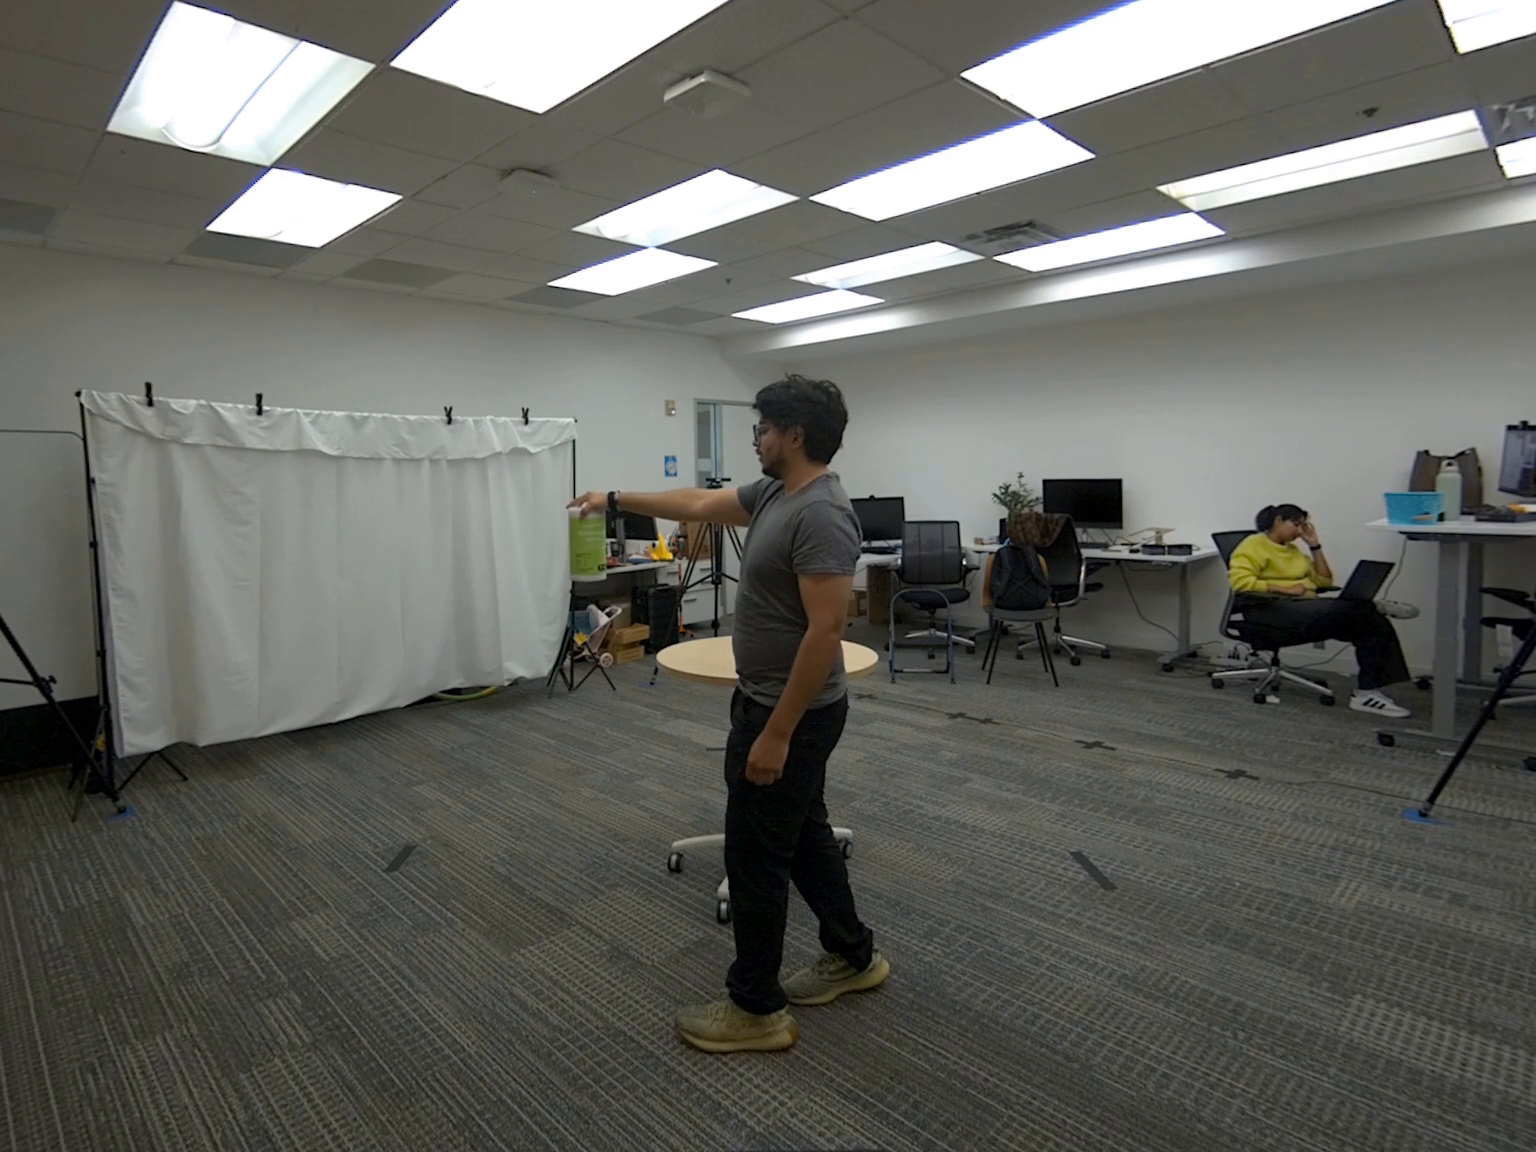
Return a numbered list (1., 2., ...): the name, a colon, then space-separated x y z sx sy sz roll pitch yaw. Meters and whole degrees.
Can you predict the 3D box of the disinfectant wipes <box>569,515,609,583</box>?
1. disinfectant wipes: -0.527 -0.095 2.511 0.118 0.216 0.119 0 7 -2
